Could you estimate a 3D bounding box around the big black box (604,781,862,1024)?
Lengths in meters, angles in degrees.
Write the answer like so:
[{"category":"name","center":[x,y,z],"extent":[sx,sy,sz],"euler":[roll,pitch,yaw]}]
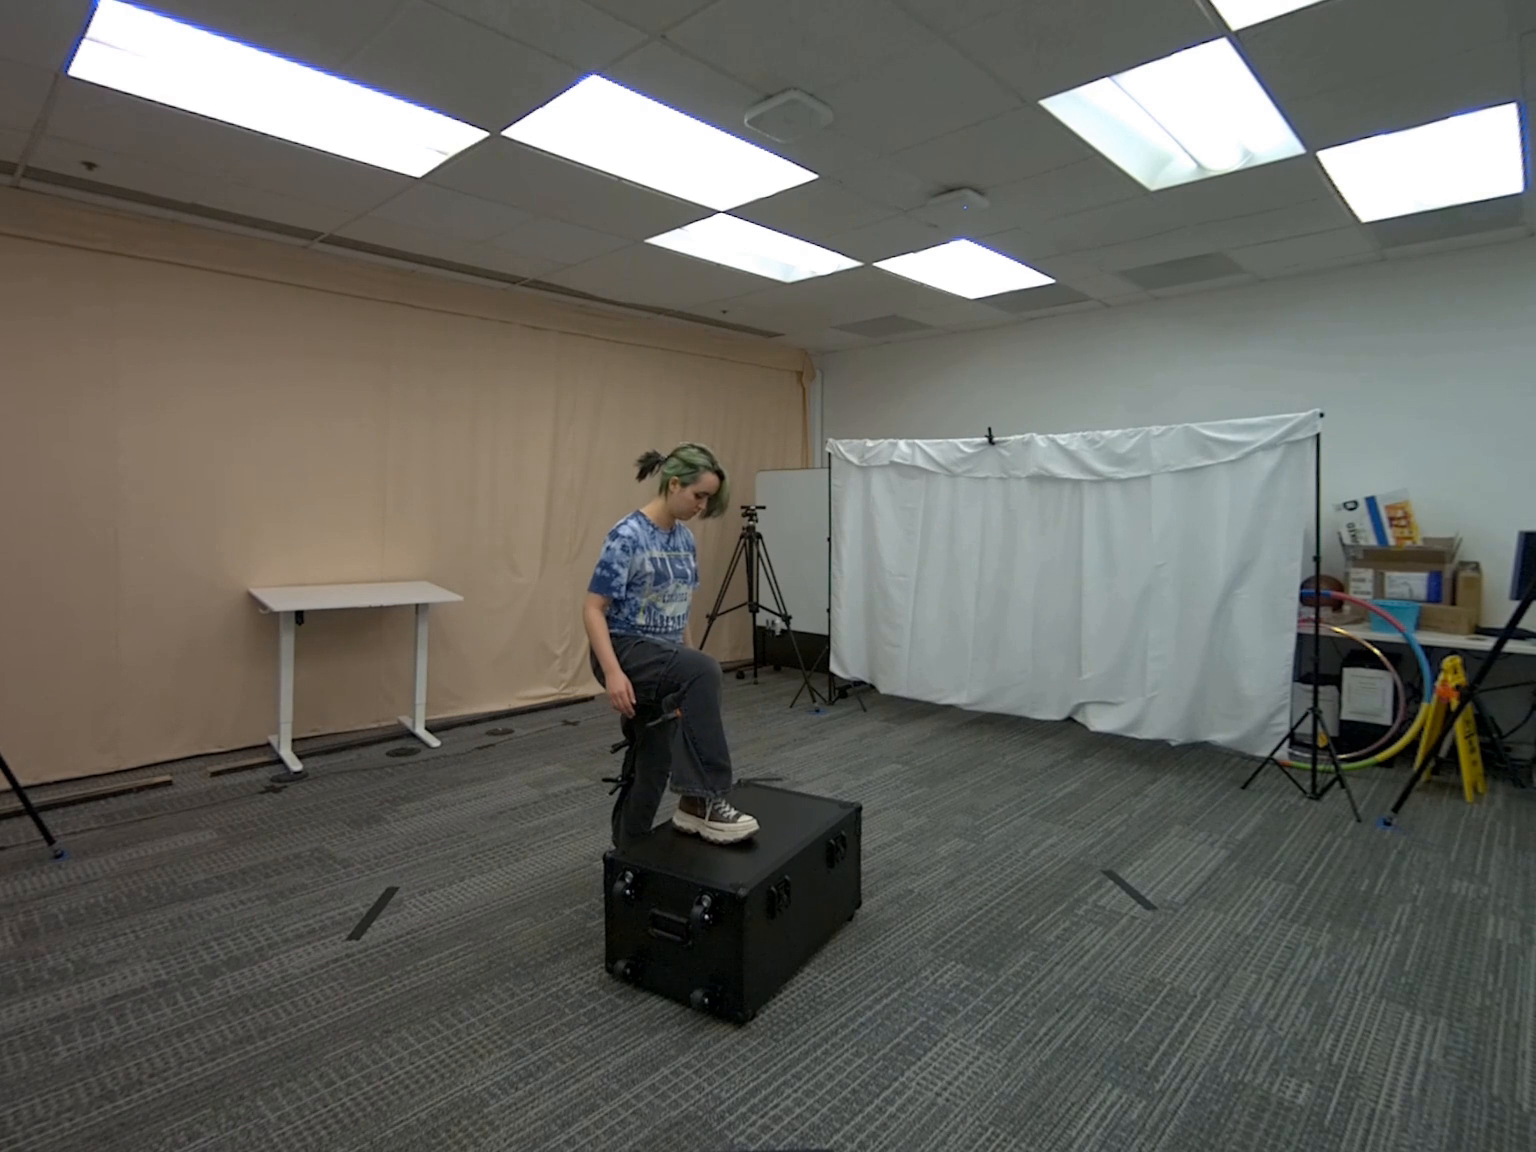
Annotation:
[{"category":"big black box","center":[-0.094,0.986,2.637],"extent":[0.537,0.395,0.838],"euler":[2,5,31]}]
